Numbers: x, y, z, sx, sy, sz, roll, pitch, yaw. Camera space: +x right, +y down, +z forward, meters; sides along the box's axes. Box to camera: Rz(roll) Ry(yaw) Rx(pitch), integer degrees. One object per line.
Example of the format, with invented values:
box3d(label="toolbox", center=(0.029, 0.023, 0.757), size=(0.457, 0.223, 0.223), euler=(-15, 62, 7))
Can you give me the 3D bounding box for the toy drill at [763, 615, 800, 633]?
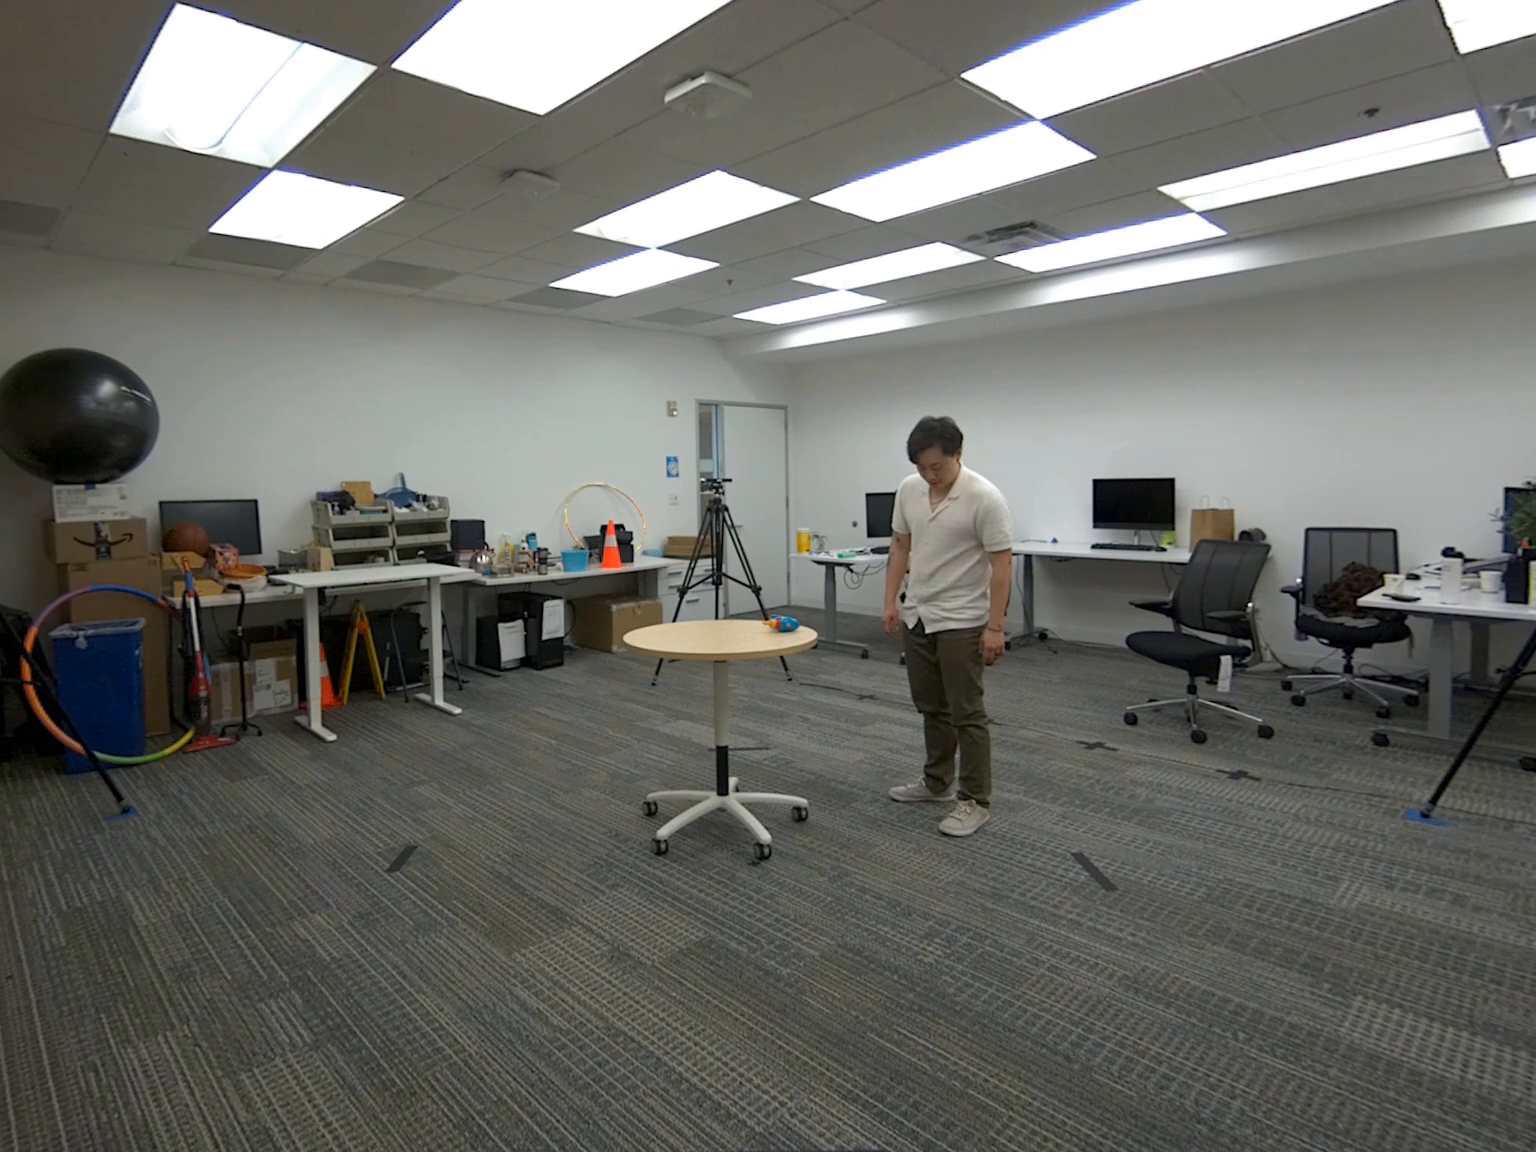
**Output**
box3d(label="toy drill", center=(0.043, 0.190, 3.446), size=(0.166, 0.061, 0.149), euler=(3, 1, -23))
